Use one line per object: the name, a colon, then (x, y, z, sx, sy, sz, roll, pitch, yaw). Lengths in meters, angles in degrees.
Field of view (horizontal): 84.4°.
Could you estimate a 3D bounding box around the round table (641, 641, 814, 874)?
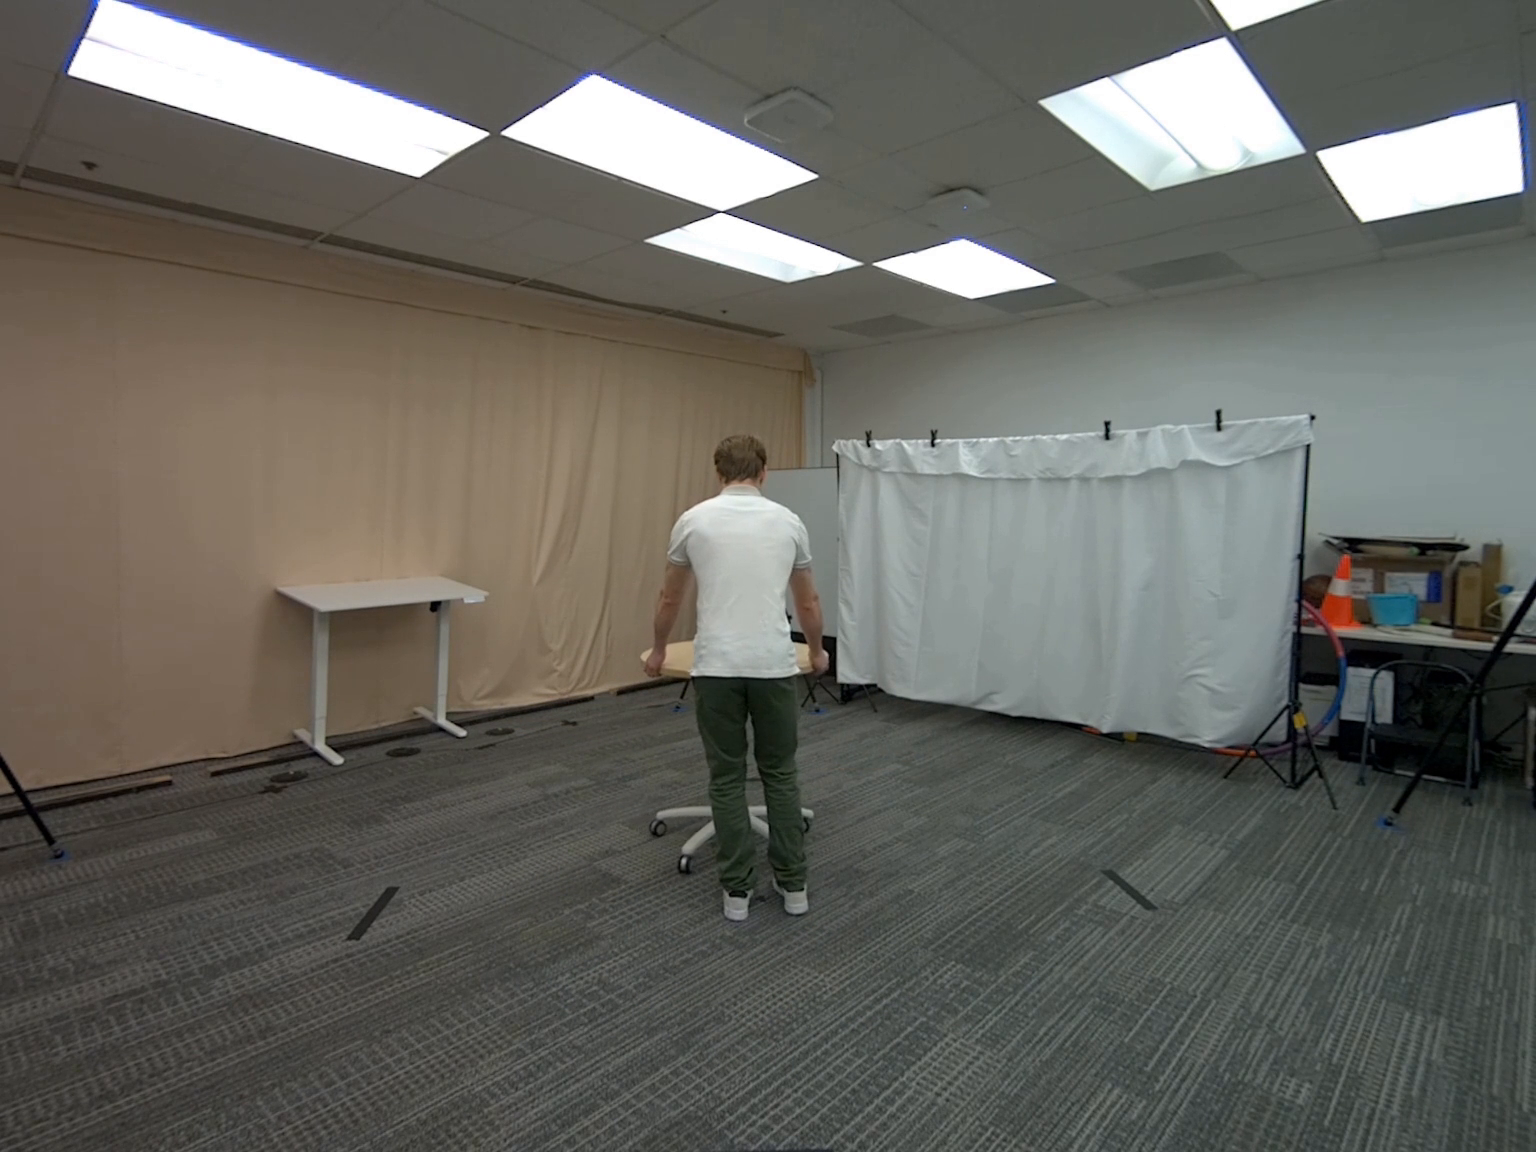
round table: (-0.133, 0.713, 3.467, 0.763, 0.792, 0.766, -1, 3, -2)
